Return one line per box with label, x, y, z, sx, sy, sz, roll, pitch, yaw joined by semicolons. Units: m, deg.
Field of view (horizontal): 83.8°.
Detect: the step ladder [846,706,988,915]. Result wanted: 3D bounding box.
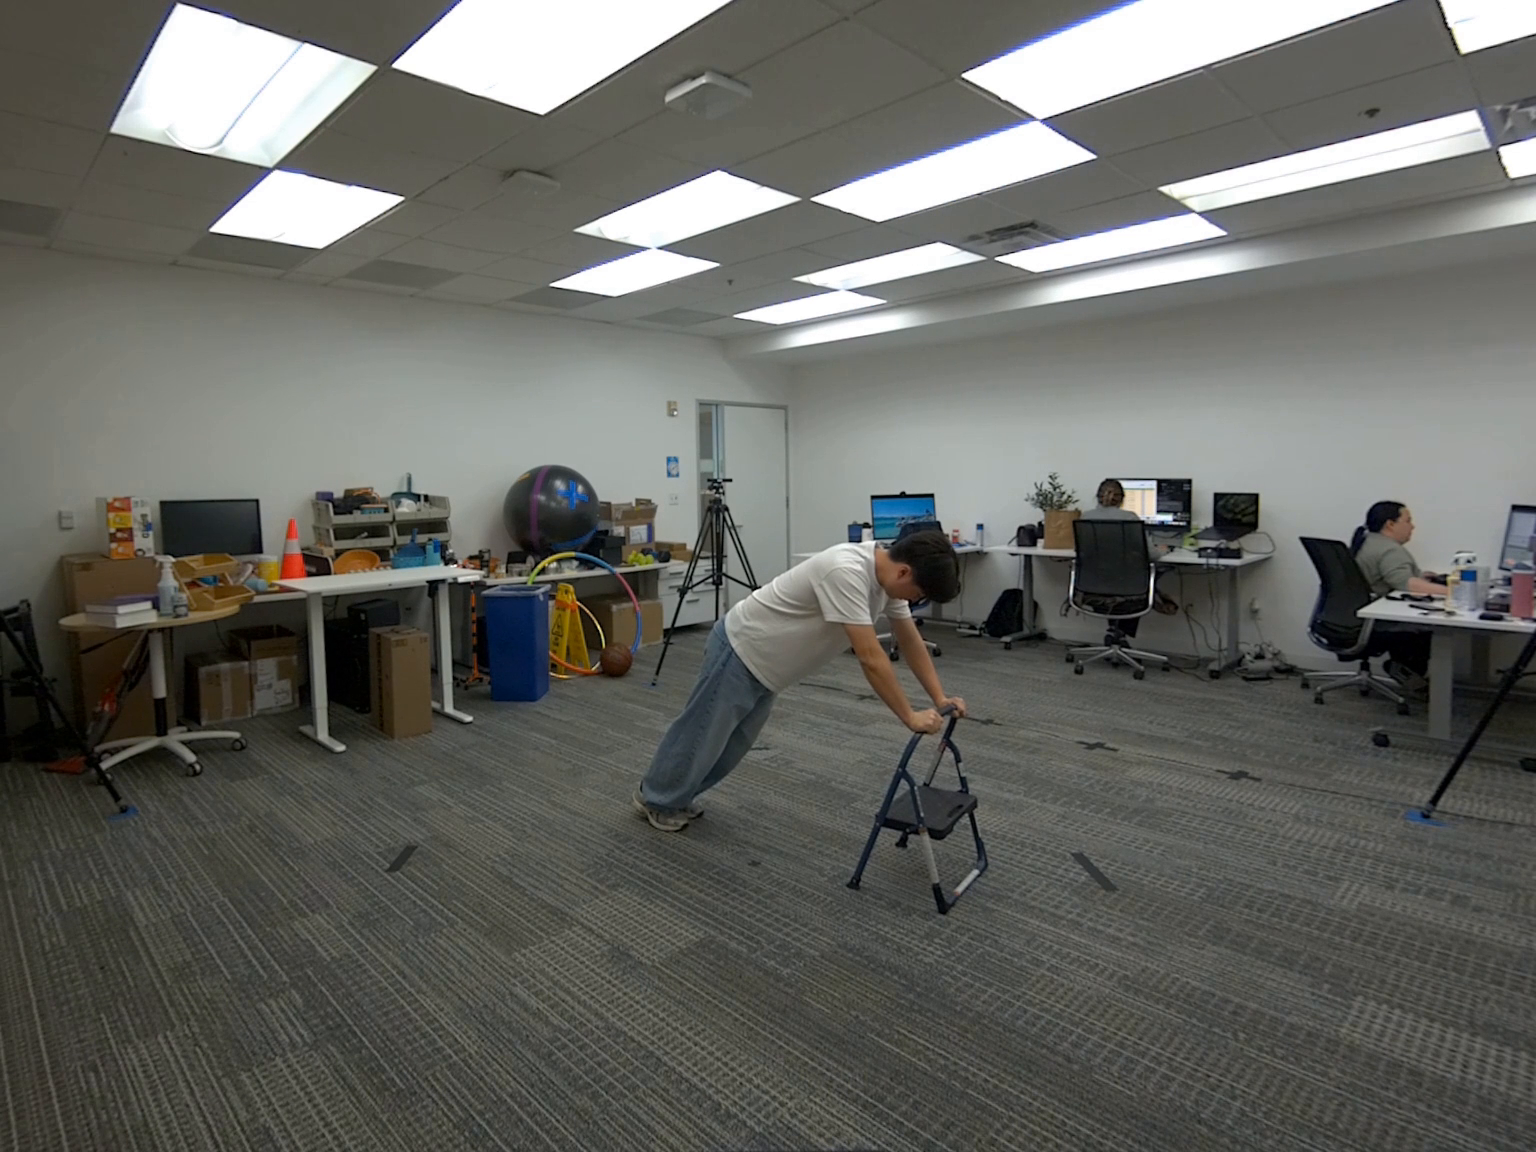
step ladder;0.533;0.748;2.957;0.359;0.603;0.420;3;6;33
